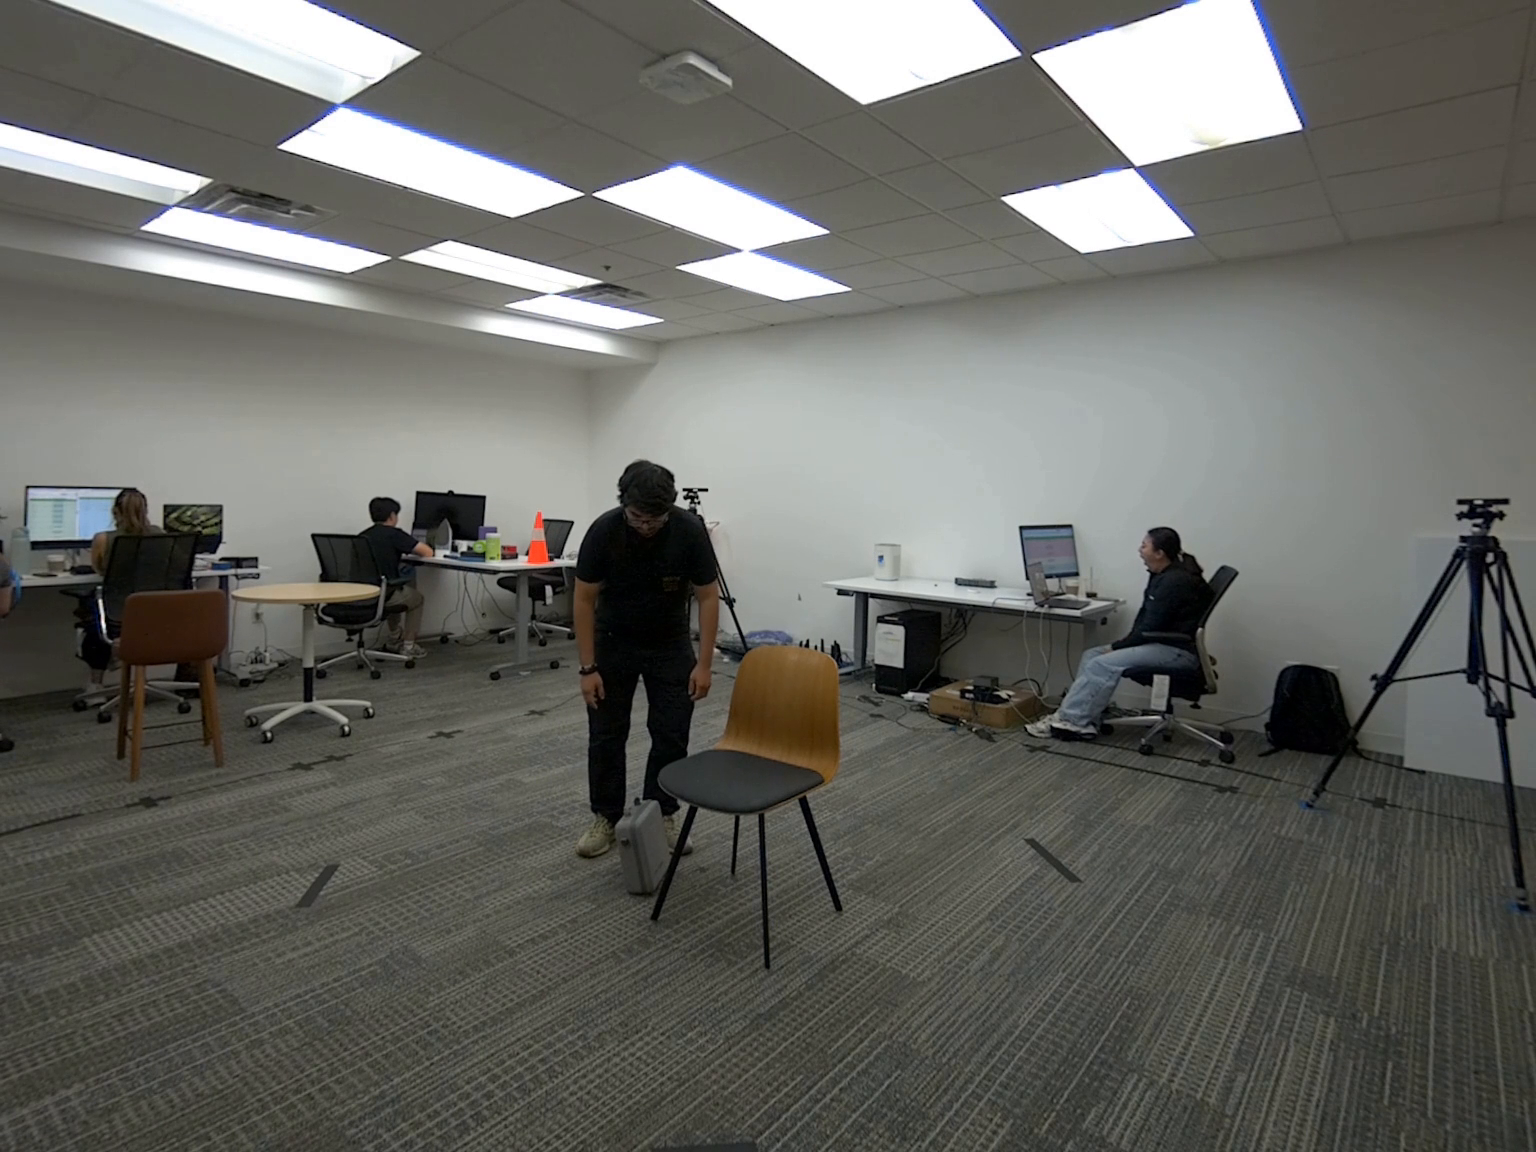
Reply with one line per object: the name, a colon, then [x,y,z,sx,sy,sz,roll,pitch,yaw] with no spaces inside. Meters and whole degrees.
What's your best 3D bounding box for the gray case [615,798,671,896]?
gray case: [-0.447,0.946,3.001,0.105,0.261,0.254,-12,1,10]
